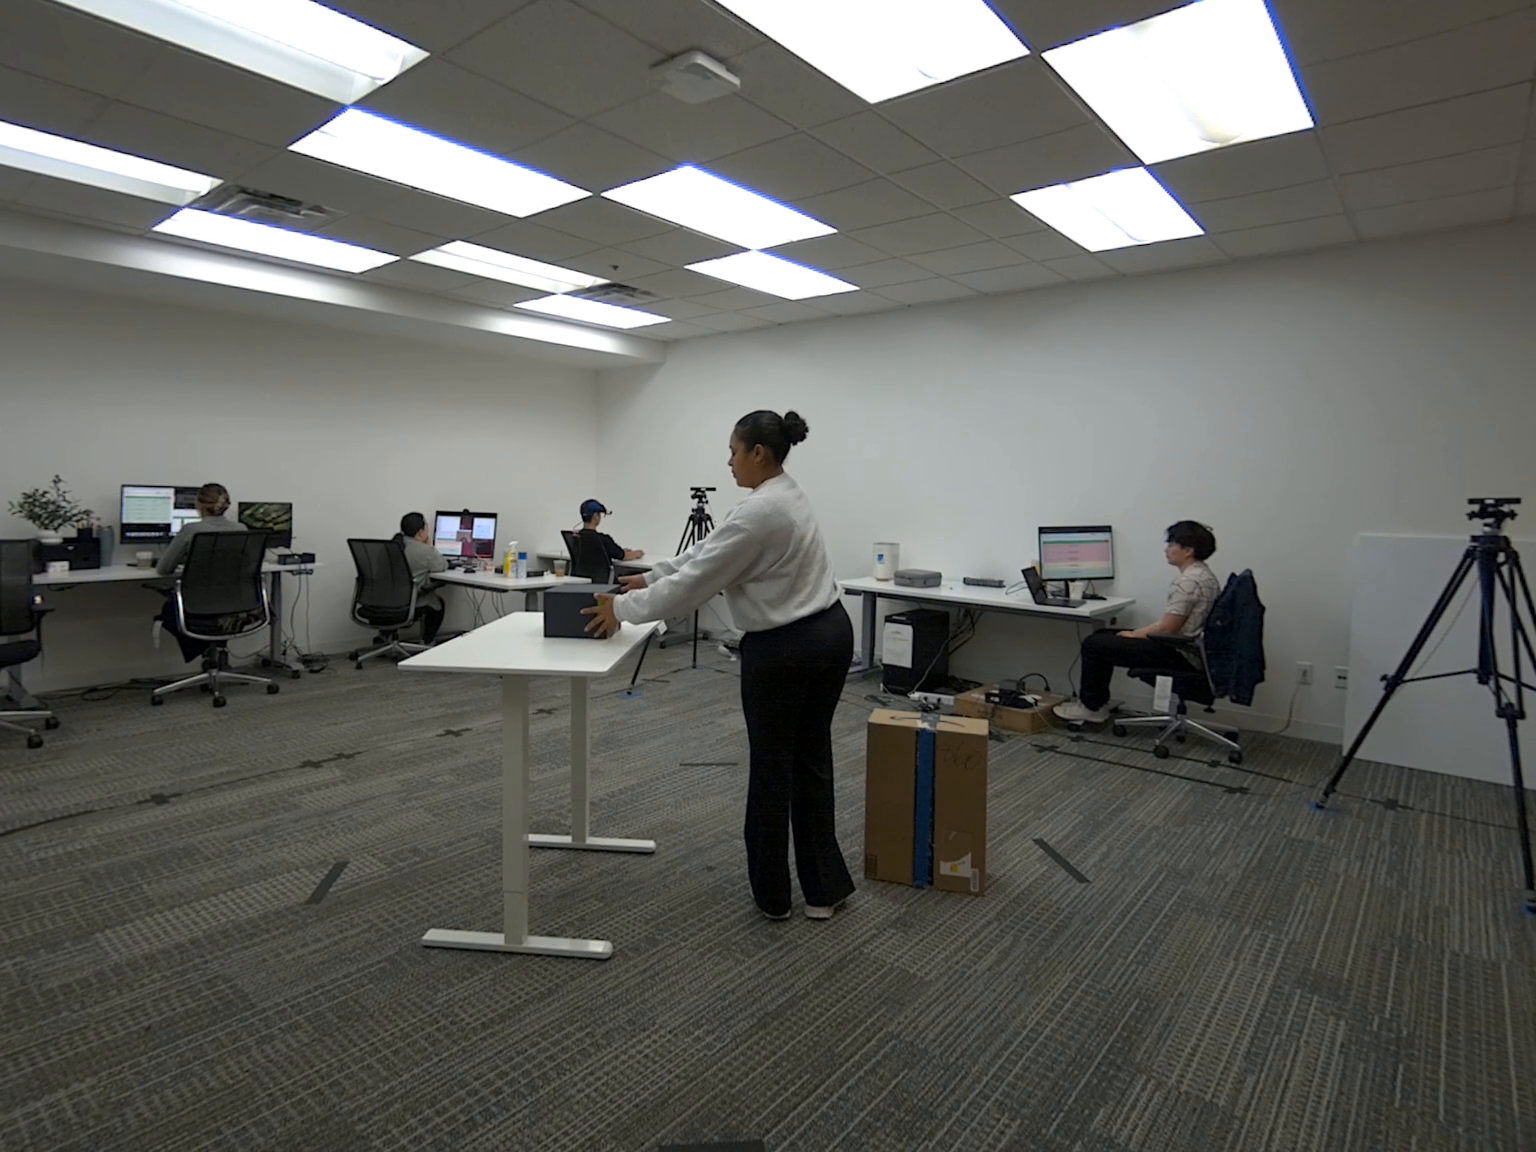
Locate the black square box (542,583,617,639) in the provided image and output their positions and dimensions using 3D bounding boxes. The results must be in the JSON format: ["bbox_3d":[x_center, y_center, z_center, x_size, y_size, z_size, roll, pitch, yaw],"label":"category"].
[{"bbox_3d":[-0.650,0.116,2.932,0.218,0.155,0.228,1,6,3],"label":"black square box"}]
